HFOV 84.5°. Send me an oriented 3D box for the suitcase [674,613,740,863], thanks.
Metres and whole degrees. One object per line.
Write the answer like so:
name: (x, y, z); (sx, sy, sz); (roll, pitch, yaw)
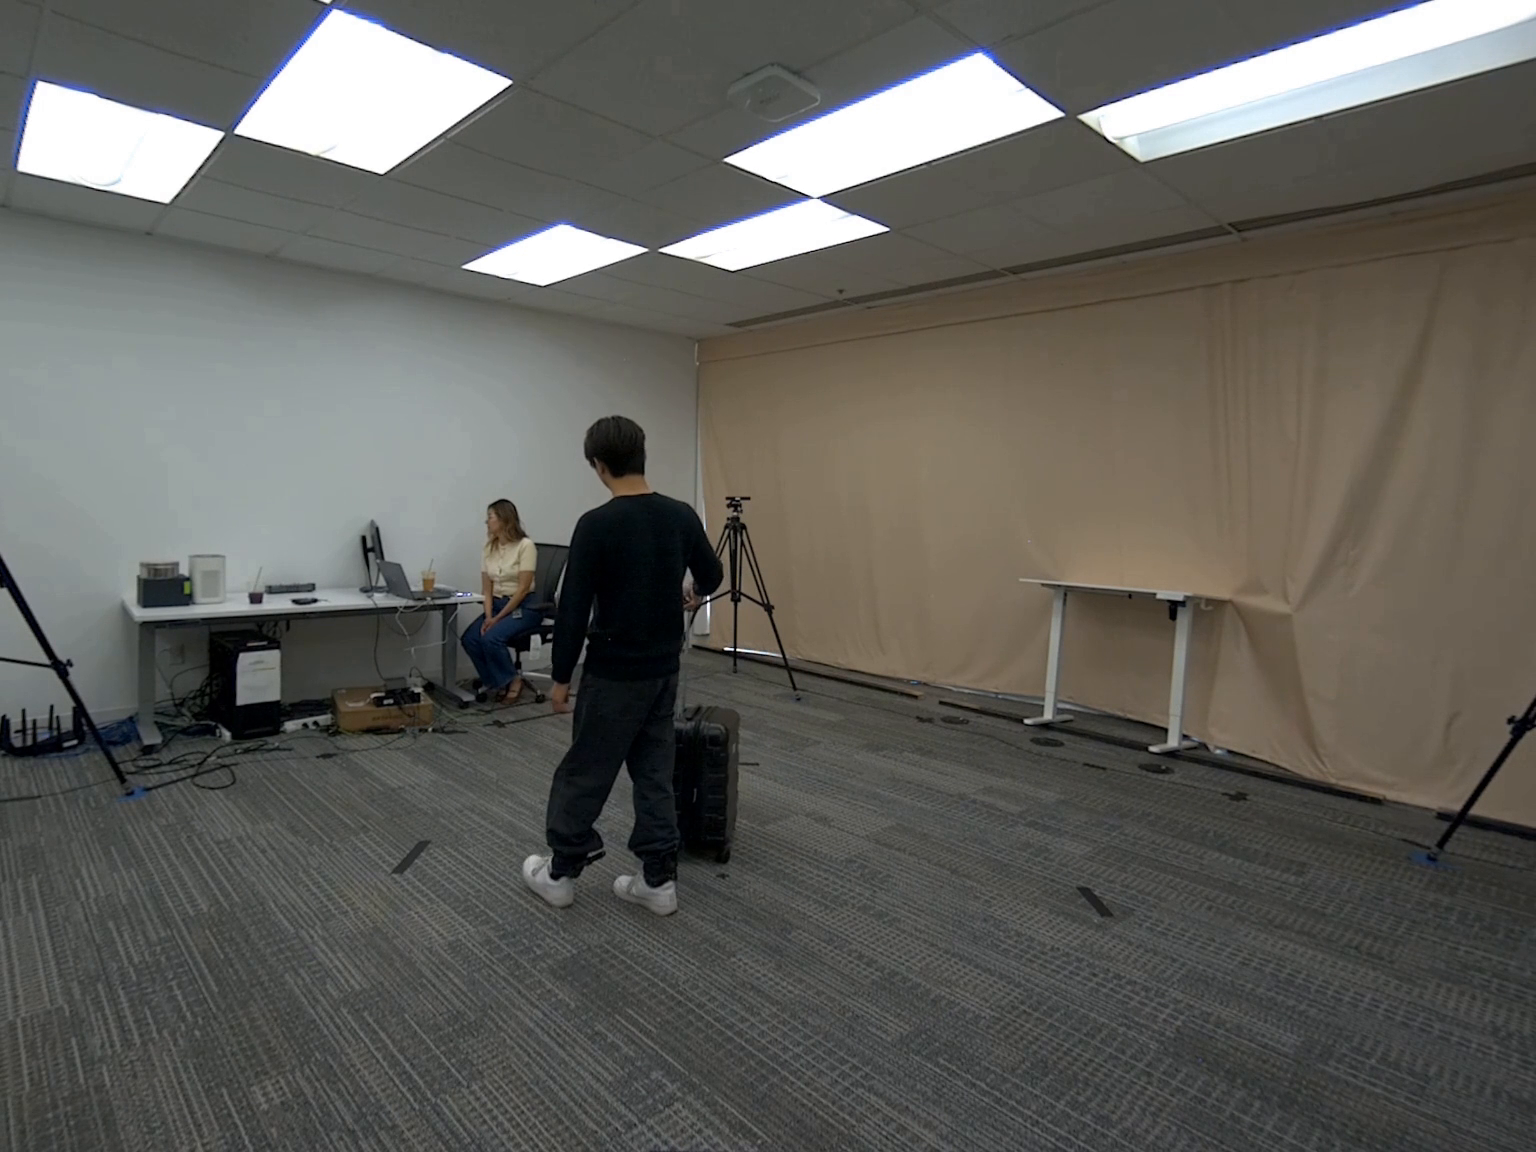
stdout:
suitcase: (-0.250, 0.606, 3.341); (0.258, 0.976, 0.383); (5, 4, 5)
